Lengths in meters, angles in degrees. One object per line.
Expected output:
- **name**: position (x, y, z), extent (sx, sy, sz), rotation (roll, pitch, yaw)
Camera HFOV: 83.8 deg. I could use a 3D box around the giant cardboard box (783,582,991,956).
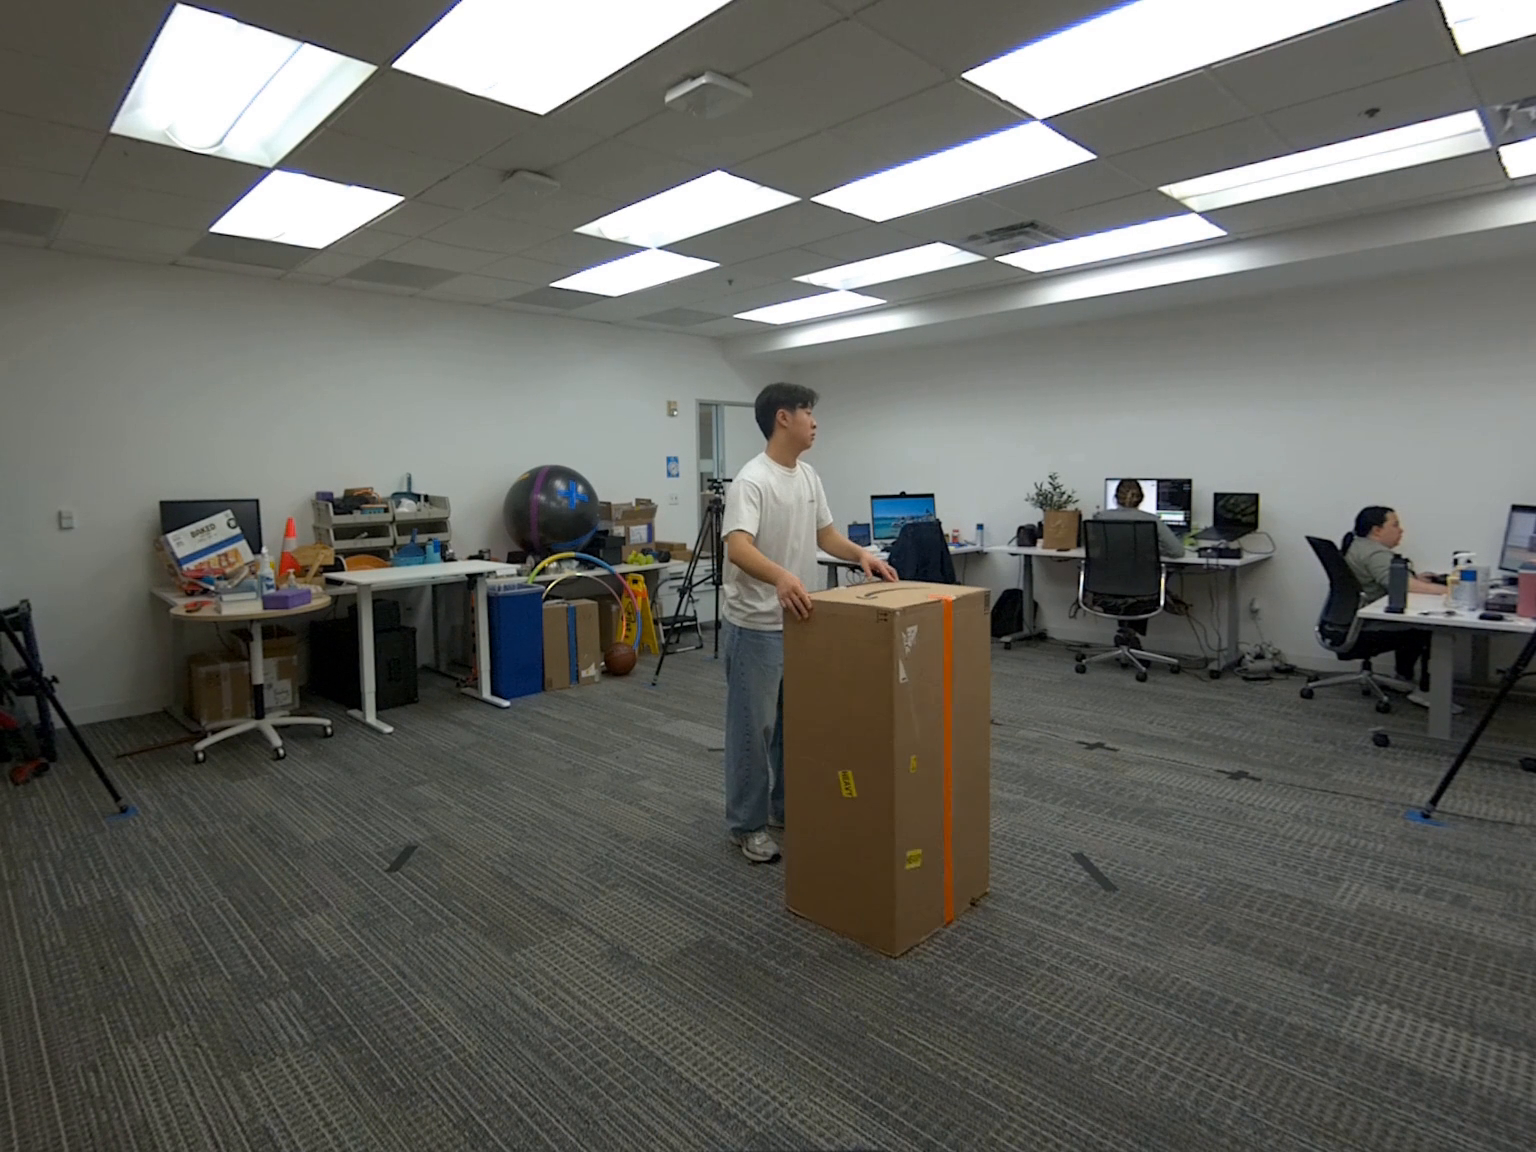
- **giant cardboard box**: position (0.404, 0.565, 2.786), extent (0.439, 1.022, 0.562), rotation (3, 5, 44)
